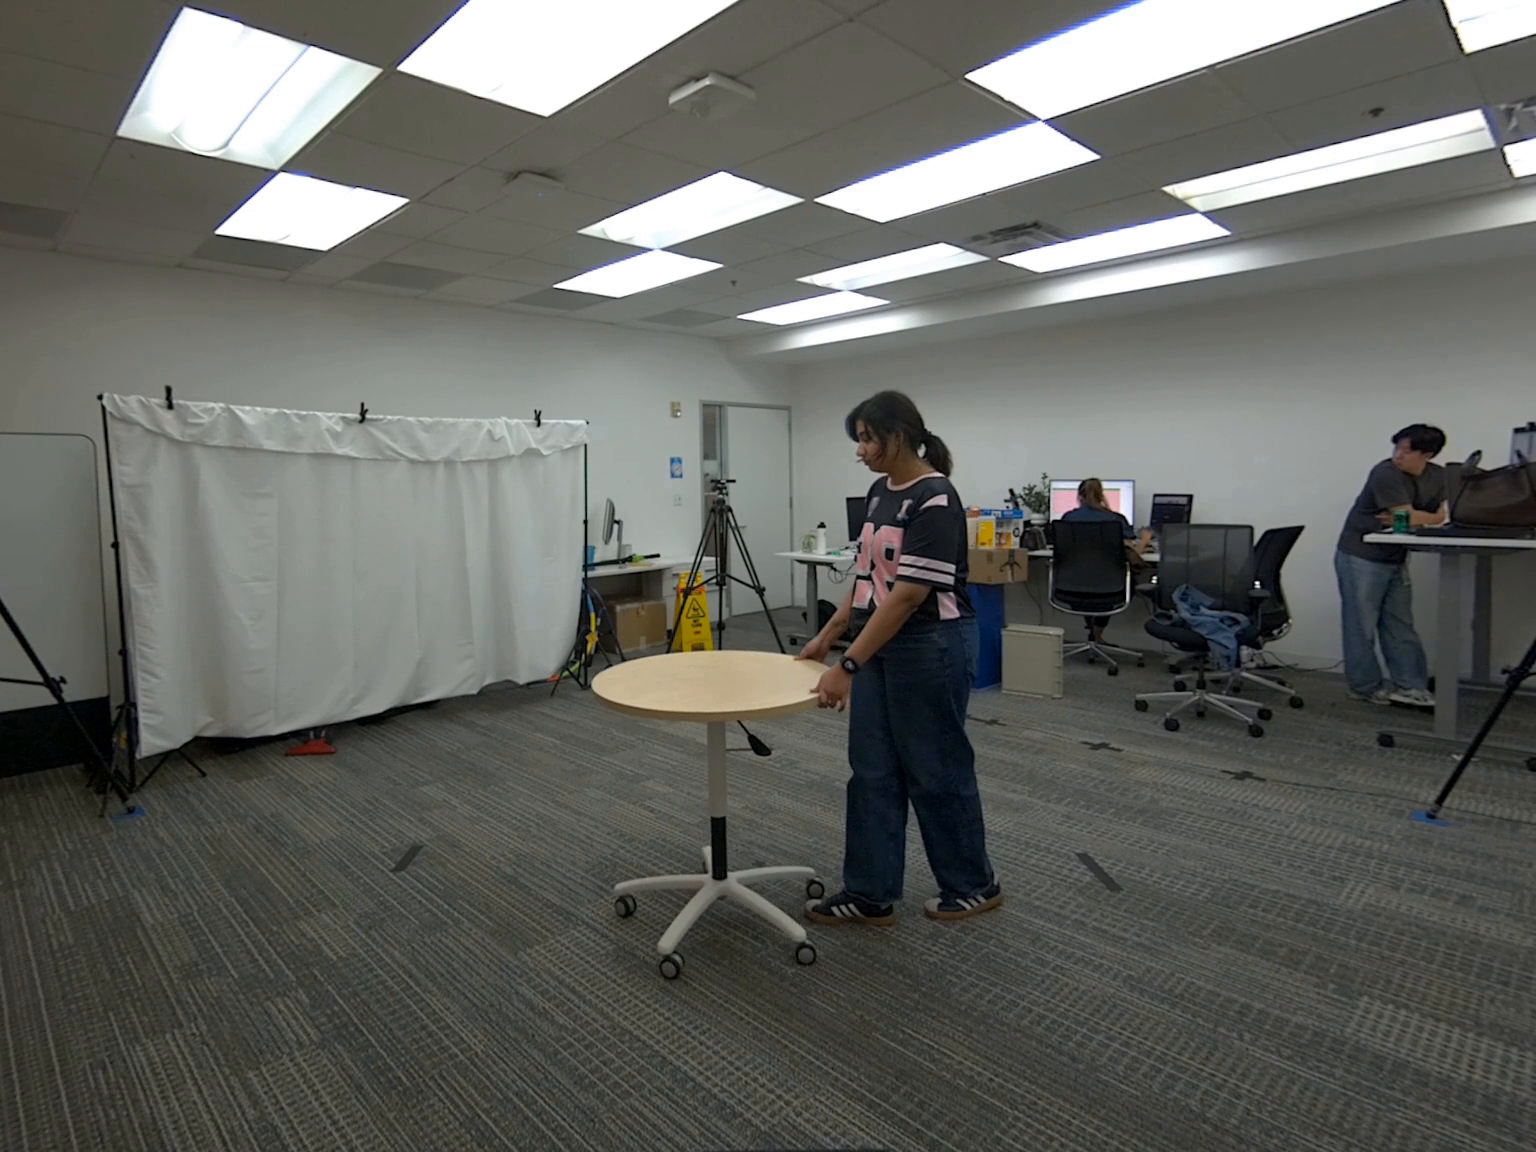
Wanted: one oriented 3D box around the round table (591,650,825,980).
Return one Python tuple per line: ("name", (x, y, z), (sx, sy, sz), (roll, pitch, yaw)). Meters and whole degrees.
("round table", (-0.153, 0.708, 2.693), (0.763, 0.790, 0.768), (-1, 6, -2))
